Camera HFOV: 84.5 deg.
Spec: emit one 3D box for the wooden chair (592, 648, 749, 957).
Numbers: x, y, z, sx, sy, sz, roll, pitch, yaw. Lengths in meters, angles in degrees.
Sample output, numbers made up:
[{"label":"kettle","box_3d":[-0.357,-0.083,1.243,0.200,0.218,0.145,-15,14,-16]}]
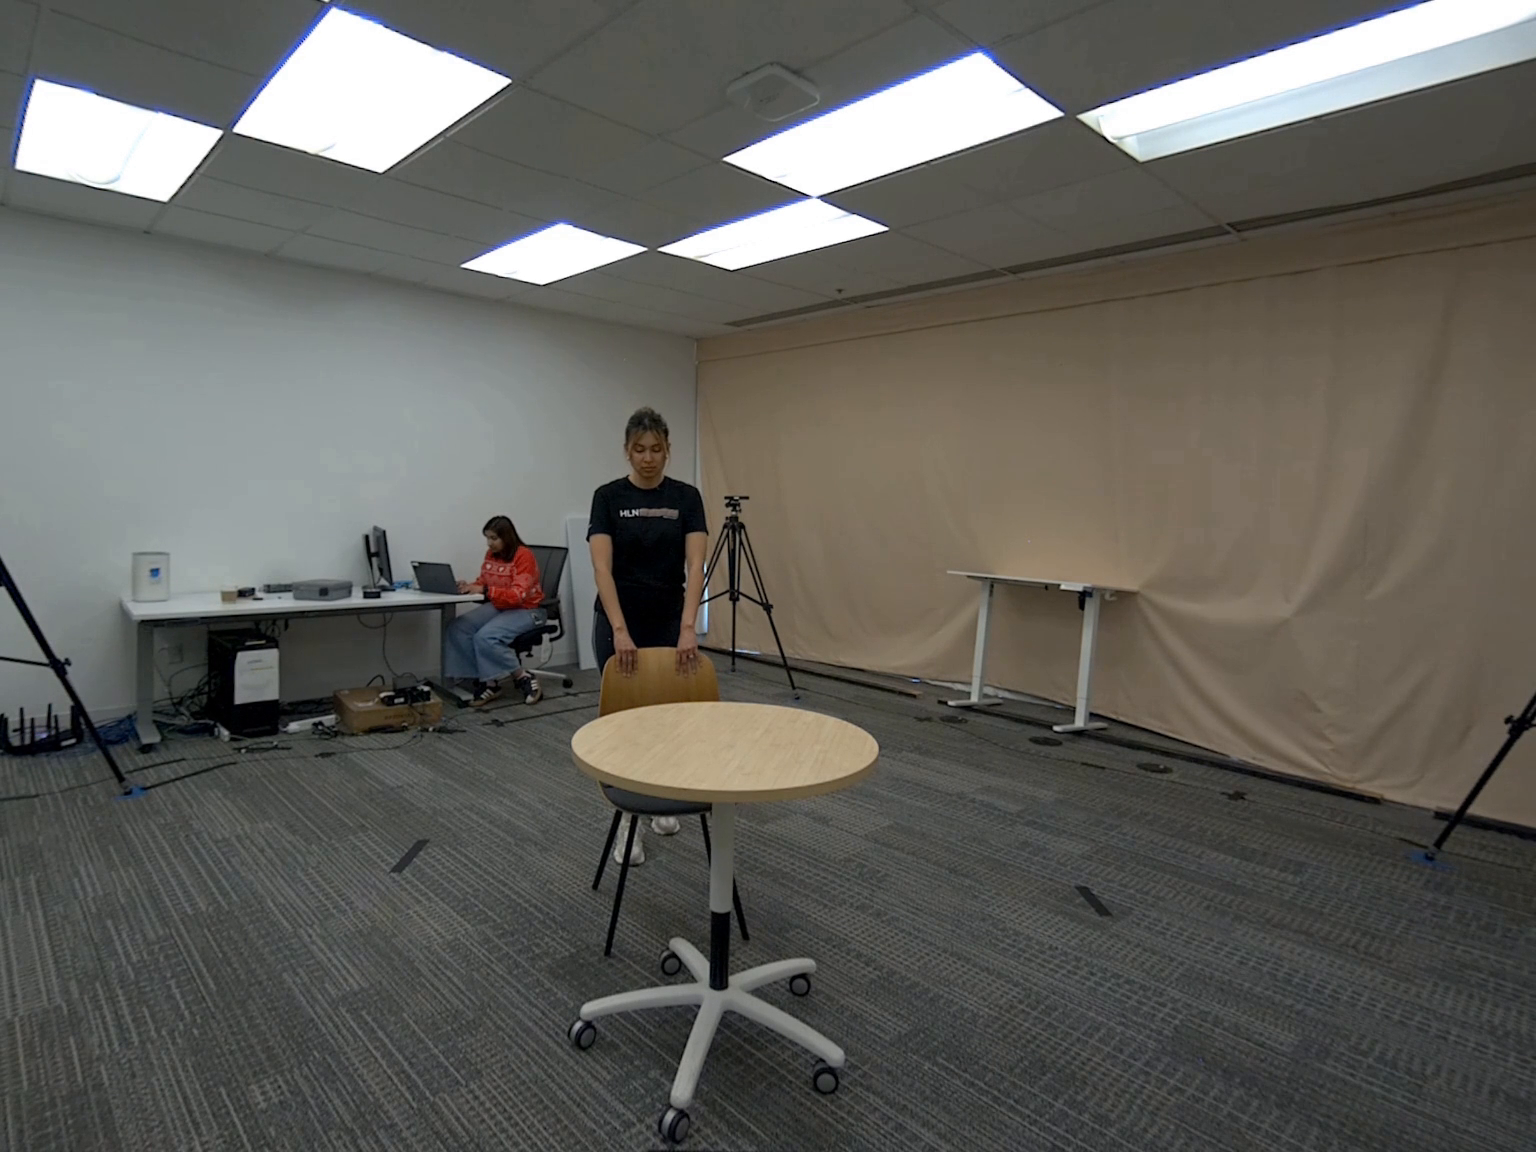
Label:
[{"label":"wooden chair","box_3d":[-0.330,0.705,2.768,0.472,0.878,0.529,1,-1,-15]}]
